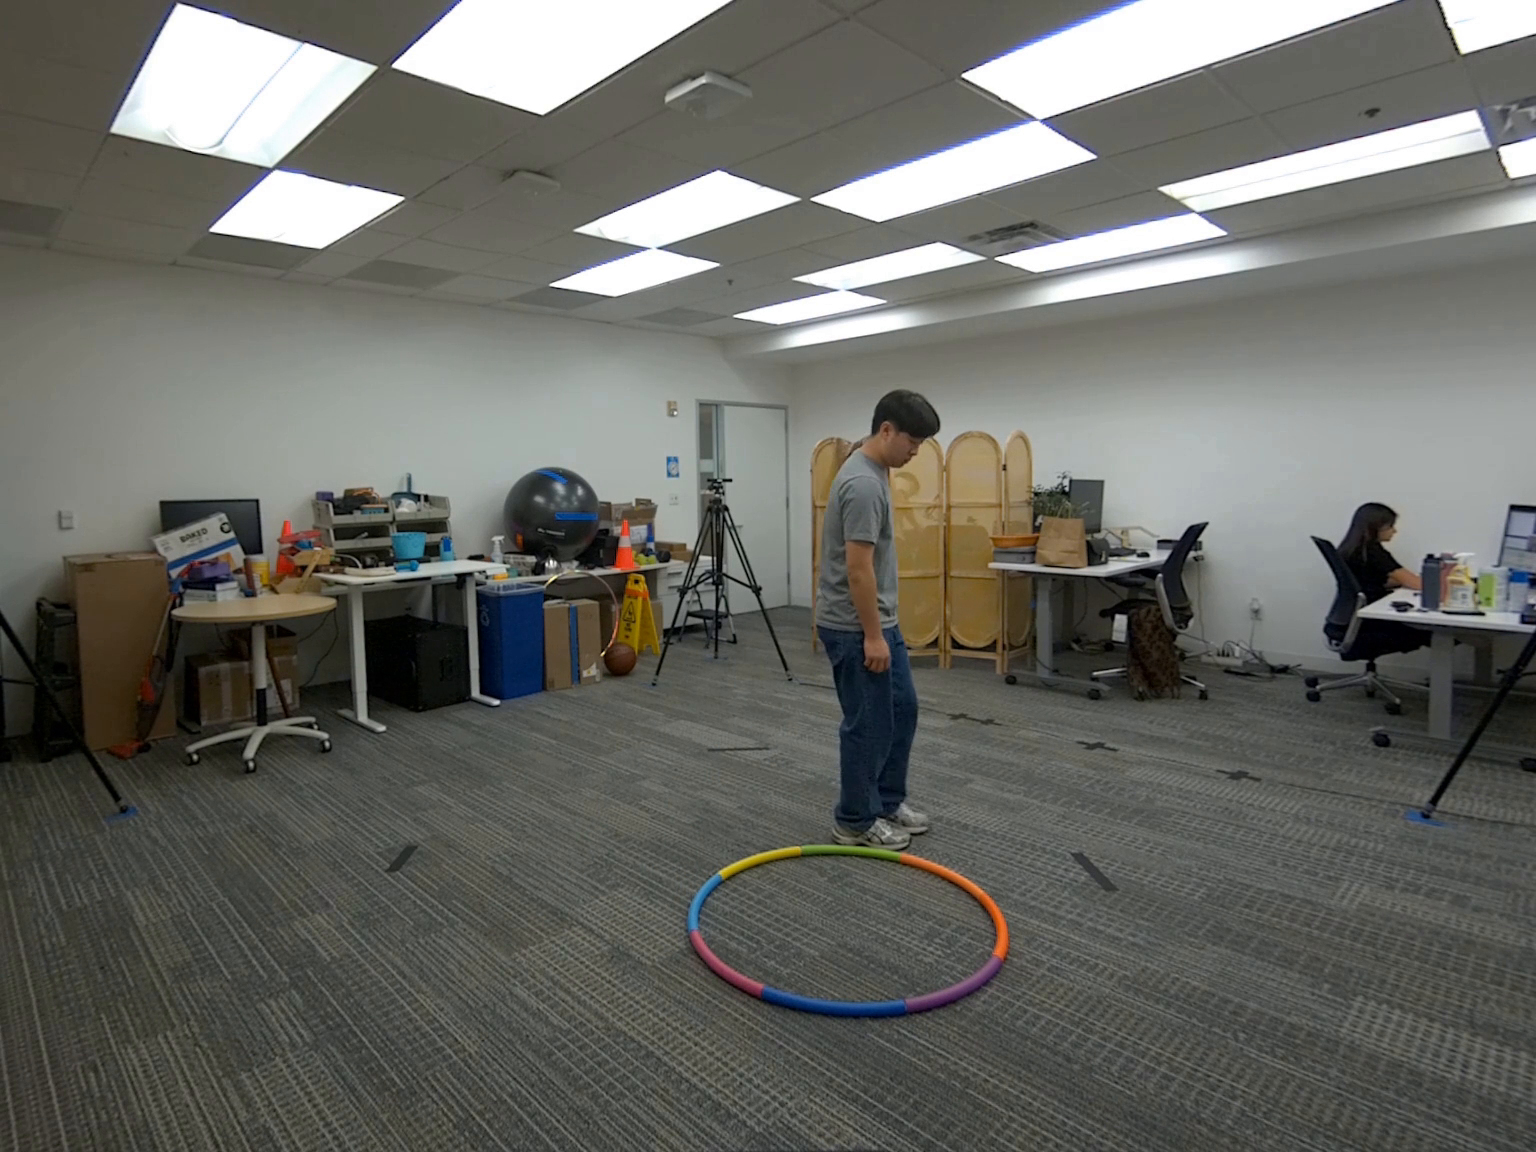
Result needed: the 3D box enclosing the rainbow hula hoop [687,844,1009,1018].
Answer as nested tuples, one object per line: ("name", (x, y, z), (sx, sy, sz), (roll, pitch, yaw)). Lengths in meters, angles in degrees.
("rainbow hula hoop", (0.235, 1.060, 2.696), (0.978, 0.035, 0.984), (-2, 7, -1))
